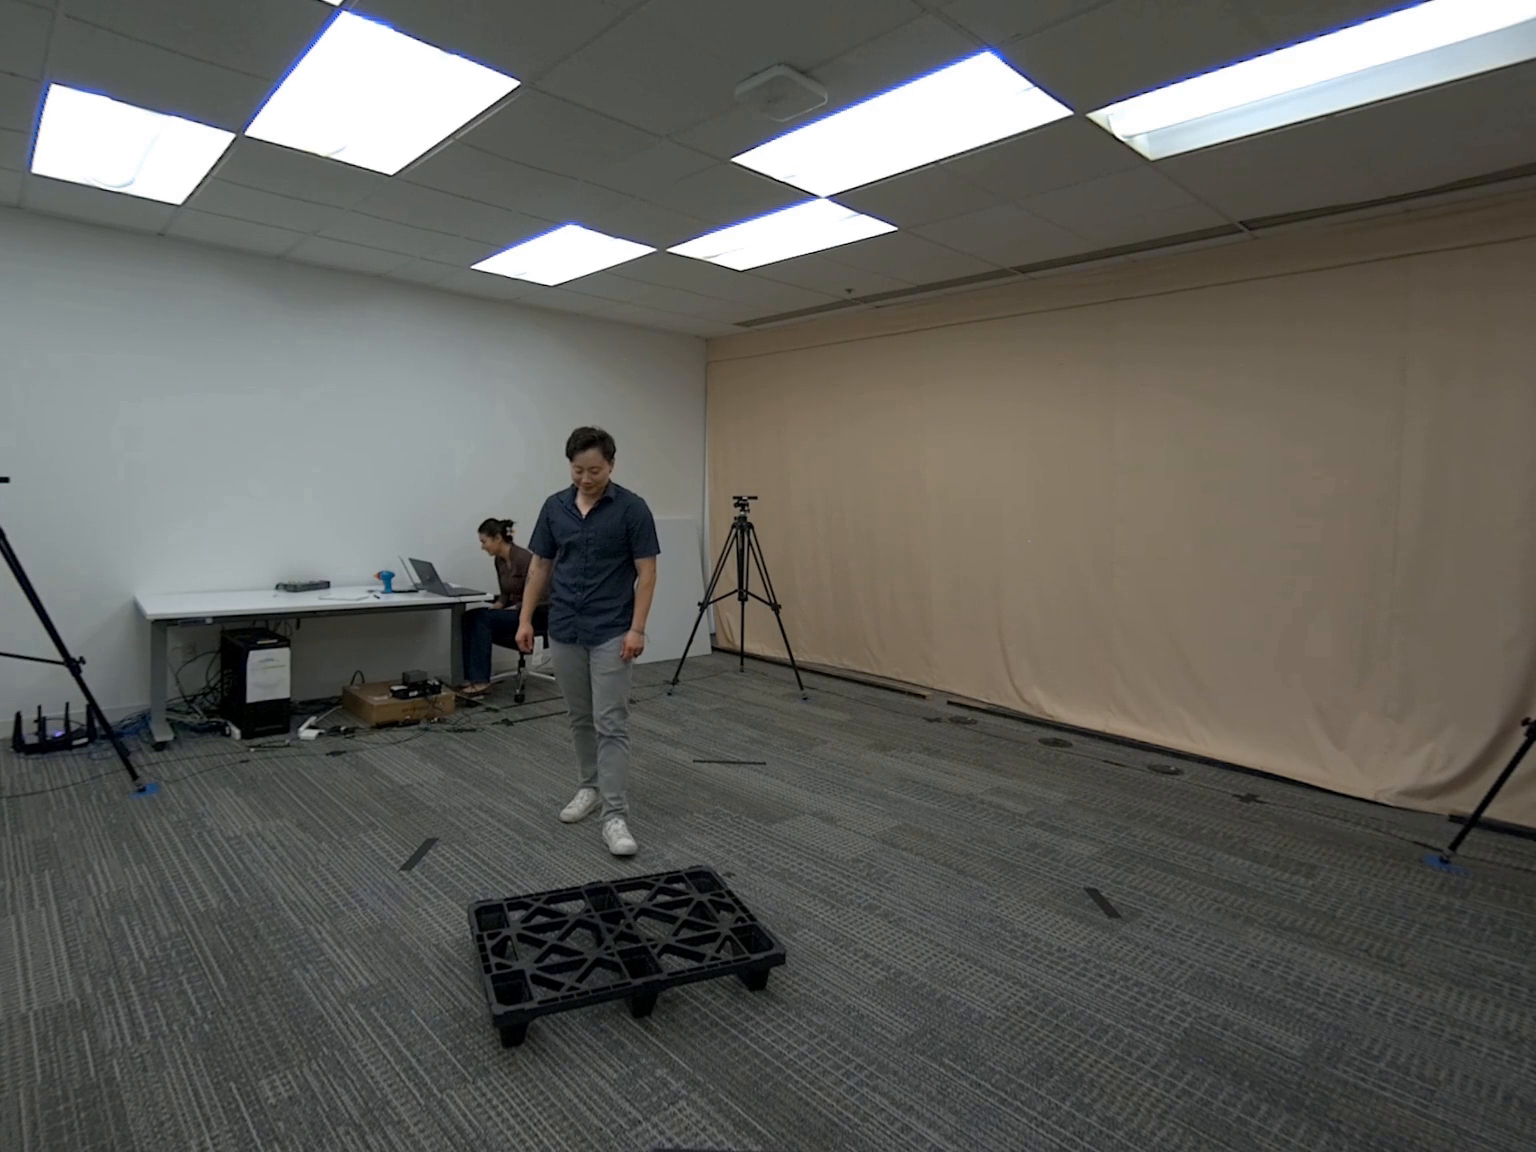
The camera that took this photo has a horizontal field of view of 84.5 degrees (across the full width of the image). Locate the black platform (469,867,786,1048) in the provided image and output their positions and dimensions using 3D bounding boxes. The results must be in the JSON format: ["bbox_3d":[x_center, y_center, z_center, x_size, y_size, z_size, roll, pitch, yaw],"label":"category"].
[{"bbox_3d":[-0.432,1.091,2.451,0.792,0.143,0.618,-1,7,-24],"label":"black platform"}]
